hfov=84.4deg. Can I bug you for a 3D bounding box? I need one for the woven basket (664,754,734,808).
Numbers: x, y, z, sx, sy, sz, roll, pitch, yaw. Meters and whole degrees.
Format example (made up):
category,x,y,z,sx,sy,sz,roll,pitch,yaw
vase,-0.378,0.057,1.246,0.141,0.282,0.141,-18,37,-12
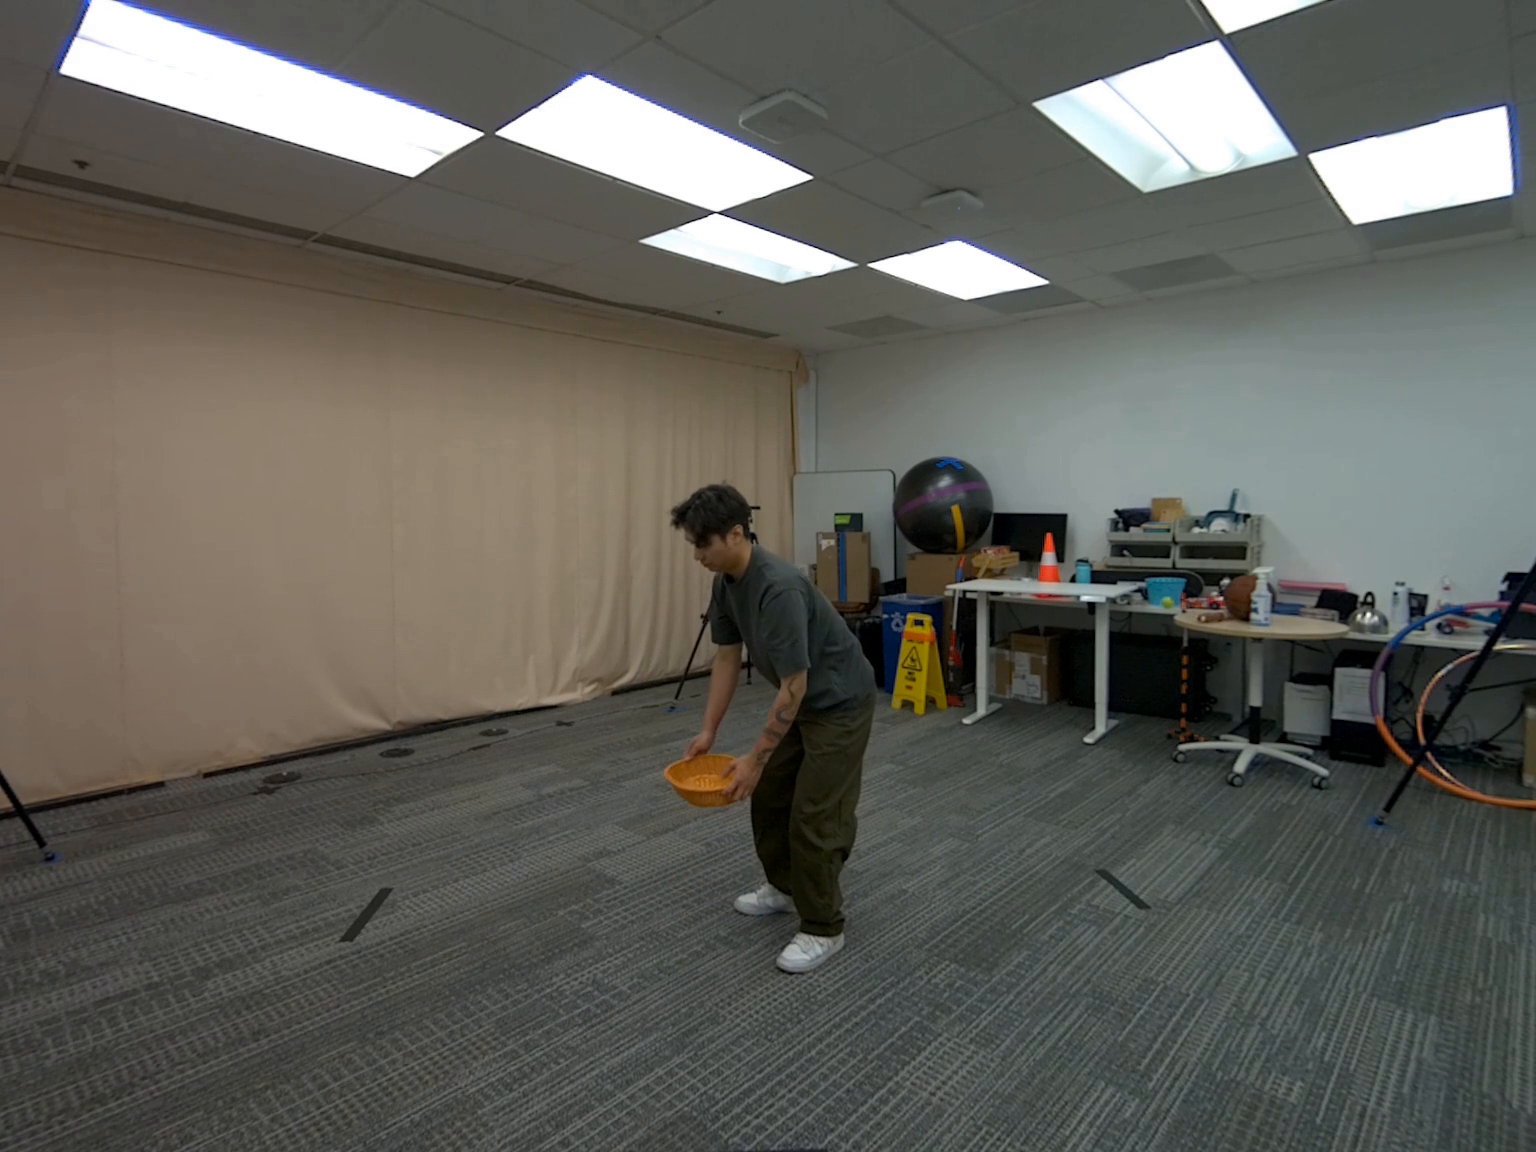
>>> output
category,x,y,z,sx,sy,sz,roll,pitch,yaw
woven basket,-0.182,0.646,2.628,0.247,0.073,0.358,-10,5,-23
